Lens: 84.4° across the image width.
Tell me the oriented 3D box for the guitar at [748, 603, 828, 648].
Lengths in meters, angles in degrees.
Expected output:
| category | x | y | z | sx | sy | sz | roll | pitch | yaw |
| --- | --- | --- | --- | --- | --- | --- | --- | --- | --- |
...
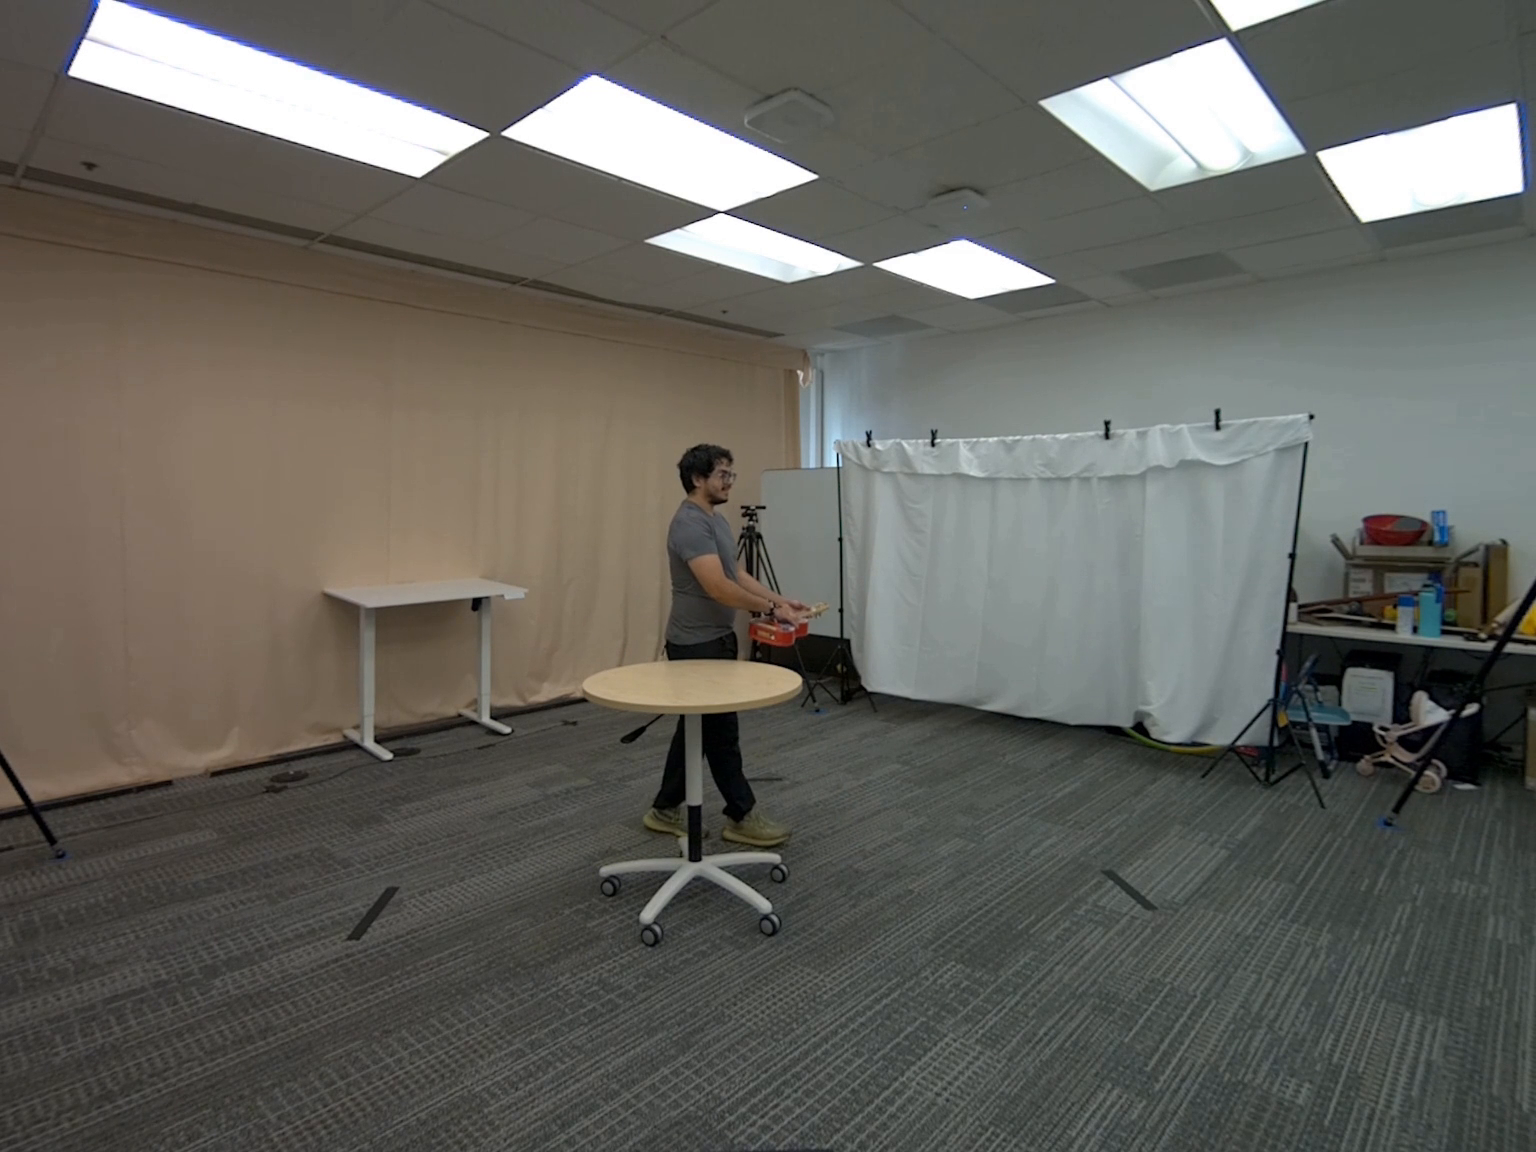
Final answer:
| category | x | y | z | sx | sy | sz | roll | pitch | yaw |
| --- | --- | --- | --- | --- | --- | --- | --- | --- | --- |
| guitar | 0.146 | 0.201 | 3.481 | 0.483 | 0.070 | 0.200 | -9 | 19 | -43 |
